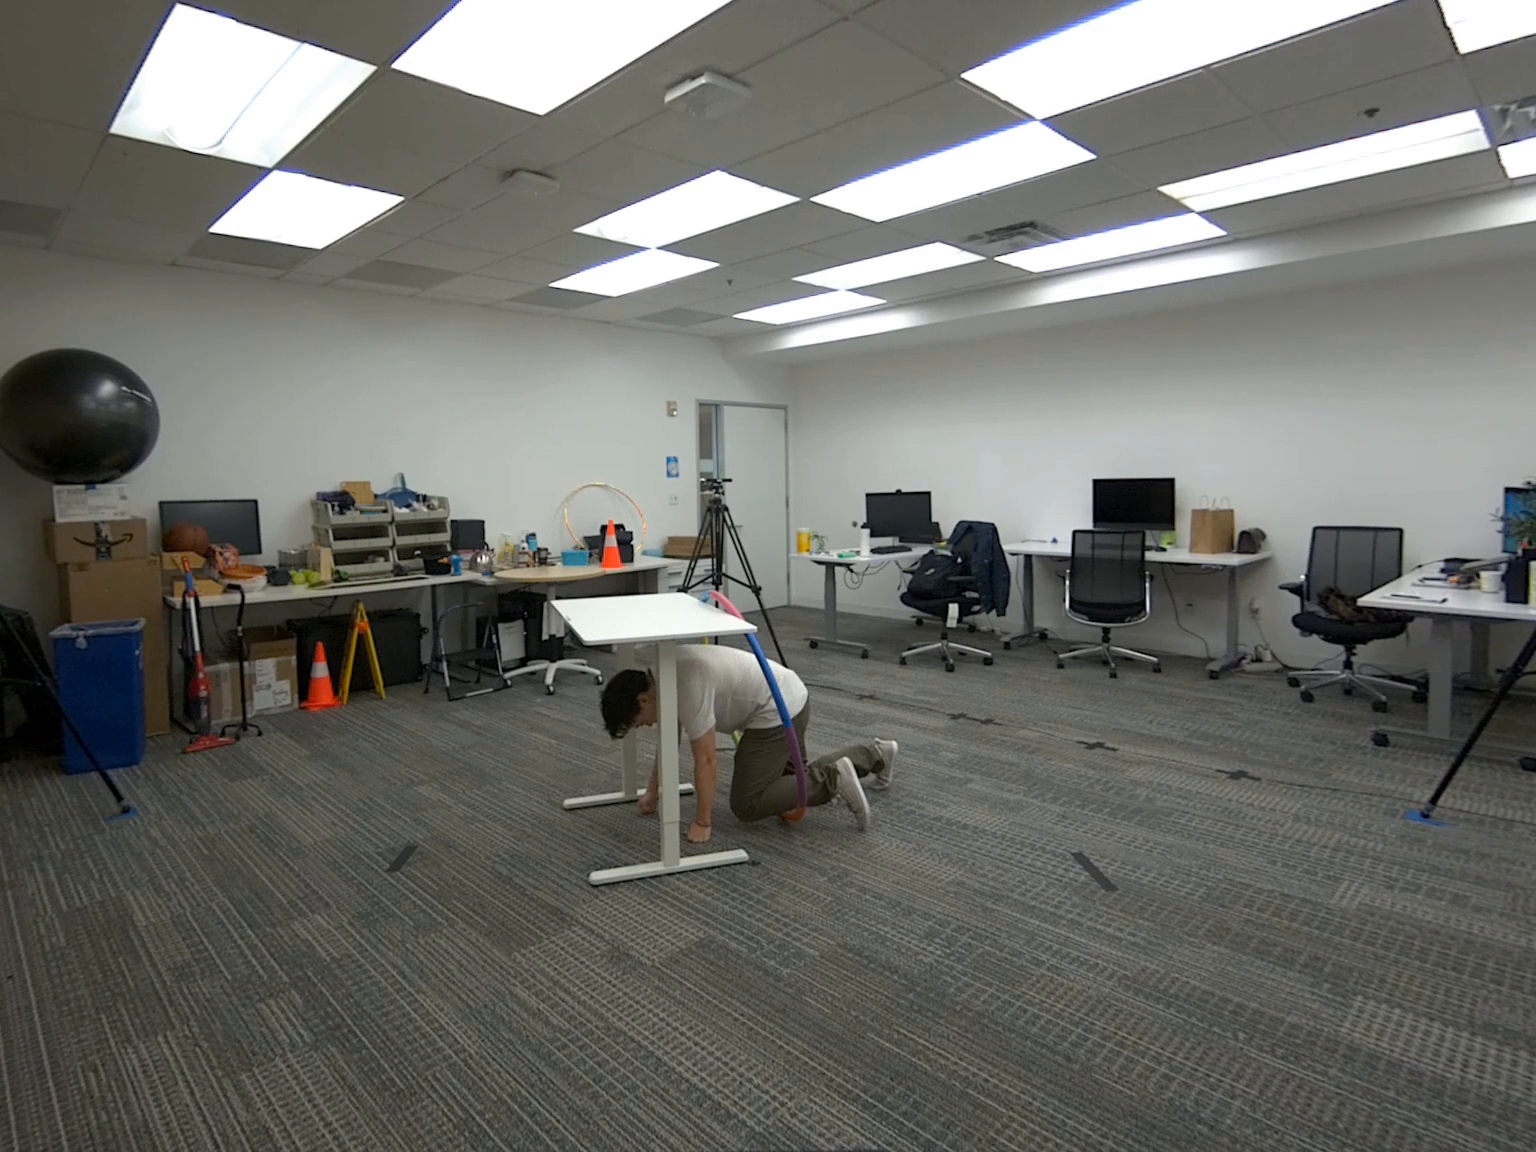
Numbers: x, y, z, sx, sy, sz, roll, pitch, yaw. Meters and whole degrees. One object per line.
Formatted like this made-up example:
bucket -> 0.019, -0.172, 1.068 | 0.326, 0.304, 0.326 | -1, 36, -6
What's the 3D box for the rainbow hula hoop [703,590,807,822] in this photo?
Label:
rainbow hula hoop -> -0.076, 0.525, 3.517 | 0.035, 0.969, 0.999 | -19, 10, -18
